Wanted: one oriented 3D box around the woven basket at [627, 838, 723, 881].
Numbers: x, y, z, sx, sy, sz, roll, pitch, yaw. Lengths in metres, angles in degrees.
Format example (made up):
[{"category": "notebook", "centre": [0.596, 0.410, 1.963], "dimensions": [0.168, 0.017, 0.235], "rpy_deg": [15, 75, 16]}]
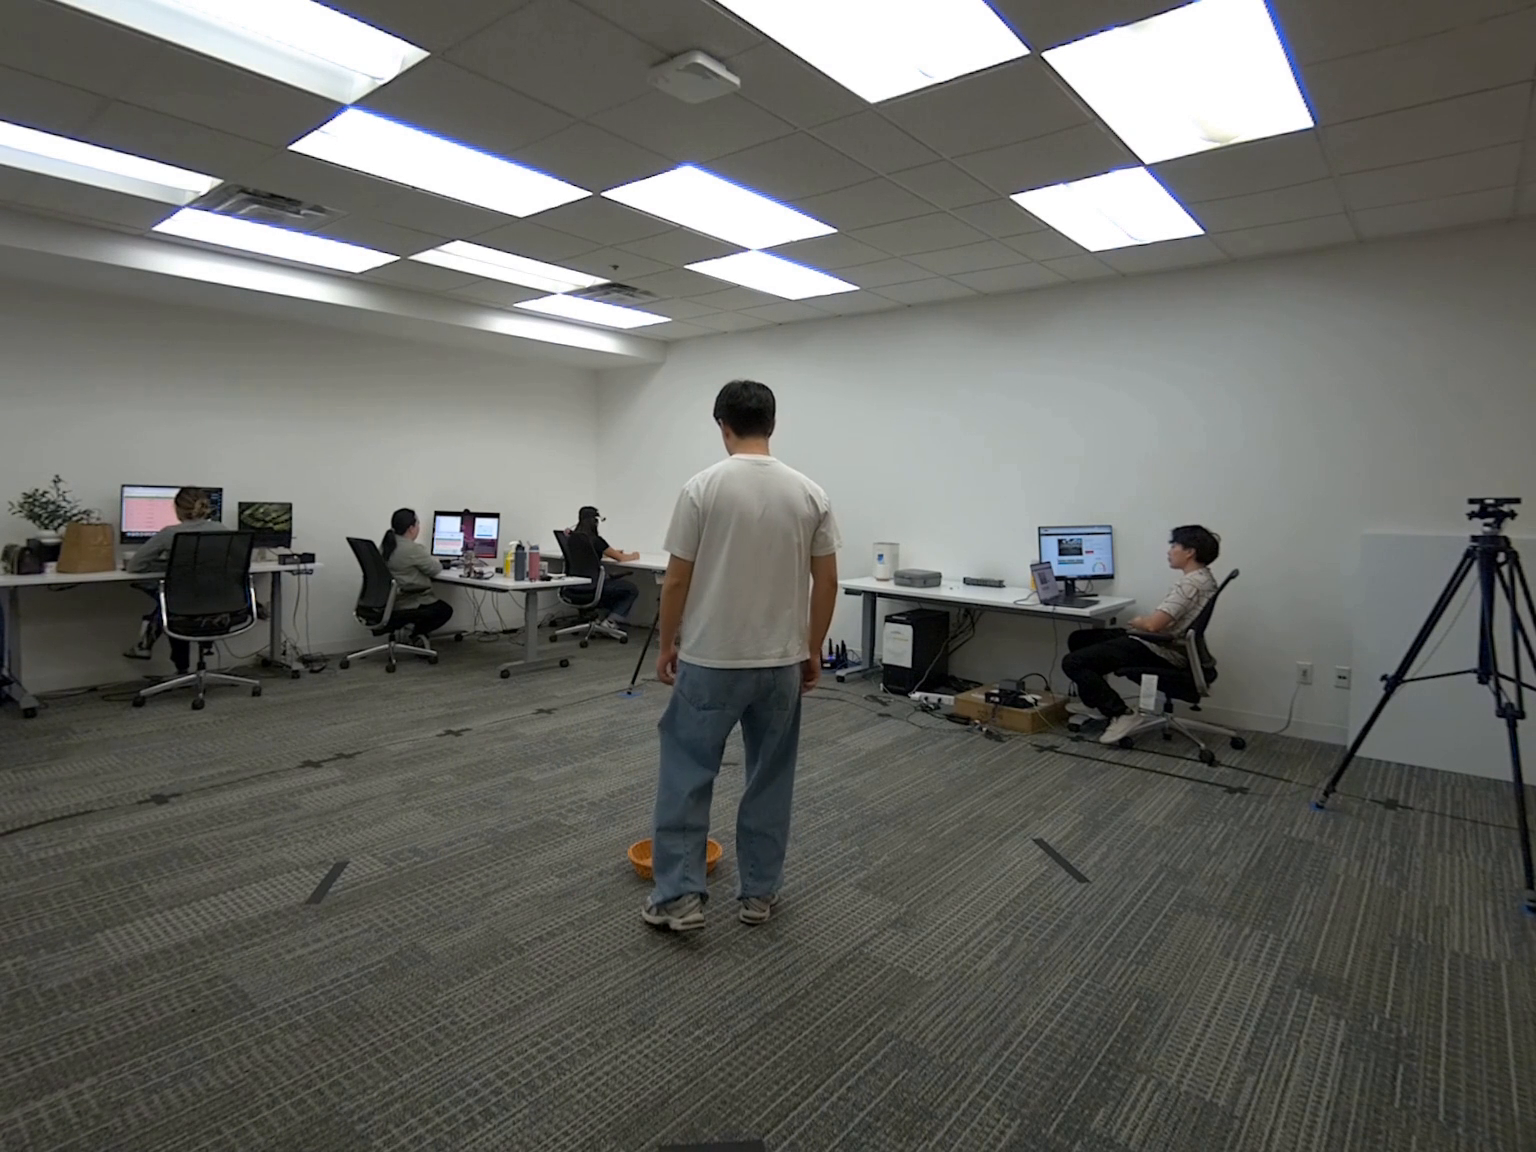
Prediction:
[{"category": "woven basket", "centre": [-0.345, 1.022, 3.100], "dimensions": [0.346, 0.073, 0.257], "rpy_deg": [0, 6, -14]}]
